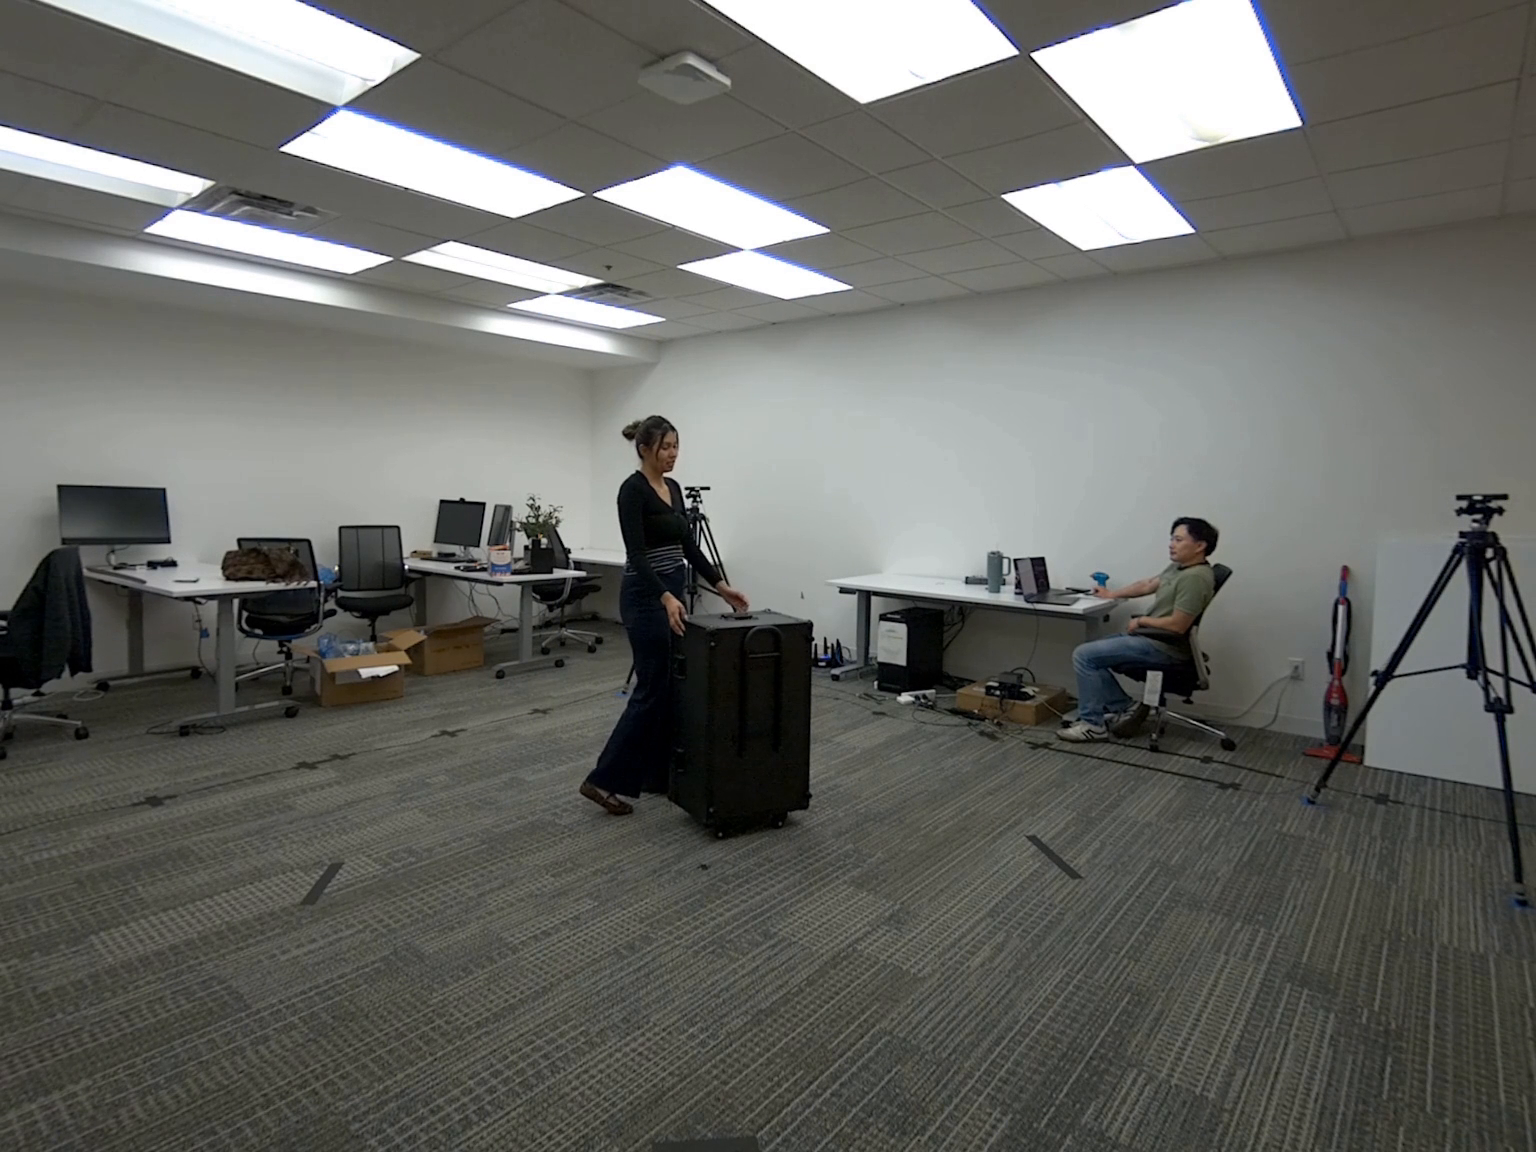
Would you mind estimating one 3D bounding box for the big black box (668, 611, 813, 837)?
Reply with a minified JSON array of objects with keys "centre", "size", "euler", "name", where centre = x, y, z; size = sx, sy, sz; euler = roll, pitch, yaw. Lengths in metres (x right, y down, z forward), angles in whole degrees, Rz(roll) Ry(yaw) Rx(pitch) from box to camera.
[{"centre":[-0.117,0.597,3.535],"size":[0.507,0.858,0.408],"euler":[0,4,-29],"name":"big black box"}]
